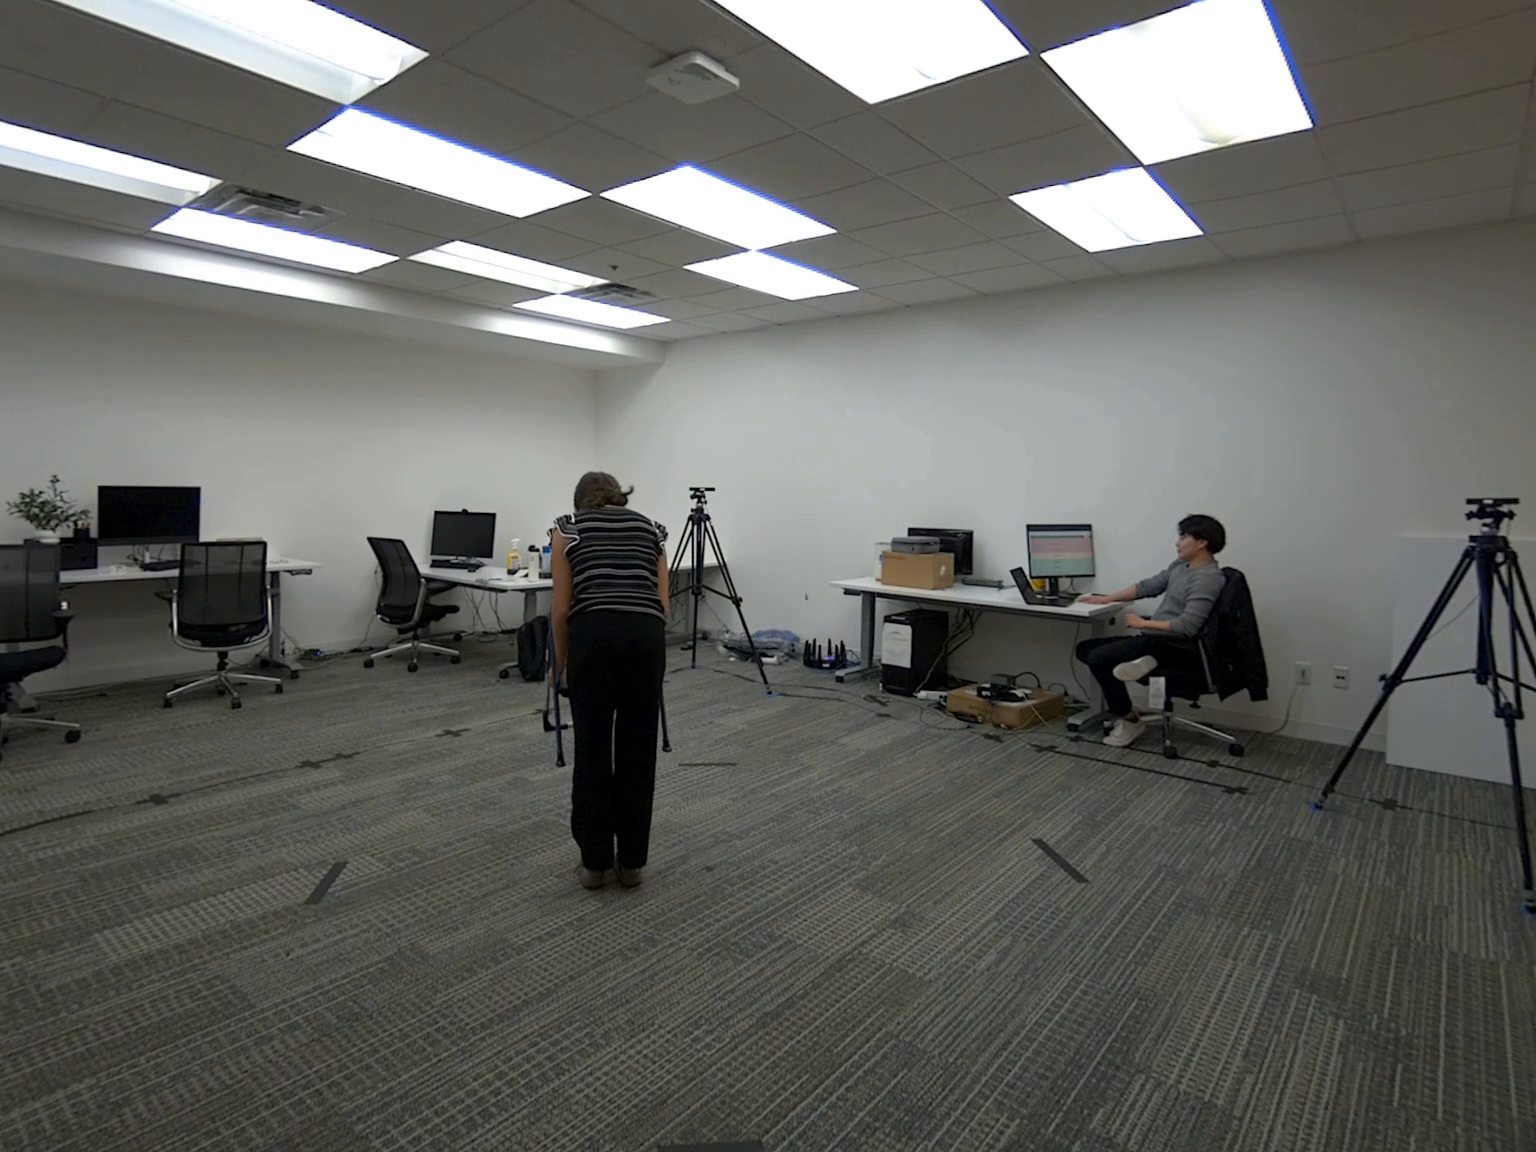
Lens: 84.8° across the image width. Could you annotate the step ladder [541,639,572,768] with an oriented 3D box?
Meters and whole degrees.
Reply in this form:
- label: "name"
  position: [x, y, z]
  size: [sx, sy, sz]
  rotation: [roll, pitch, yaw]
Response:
- label: "step ladder"
  position: [-0.622, 0.331, 3.193]
  size: [0.421, 0.601, 0.360]
  rotation: [-3, 11, -24]
